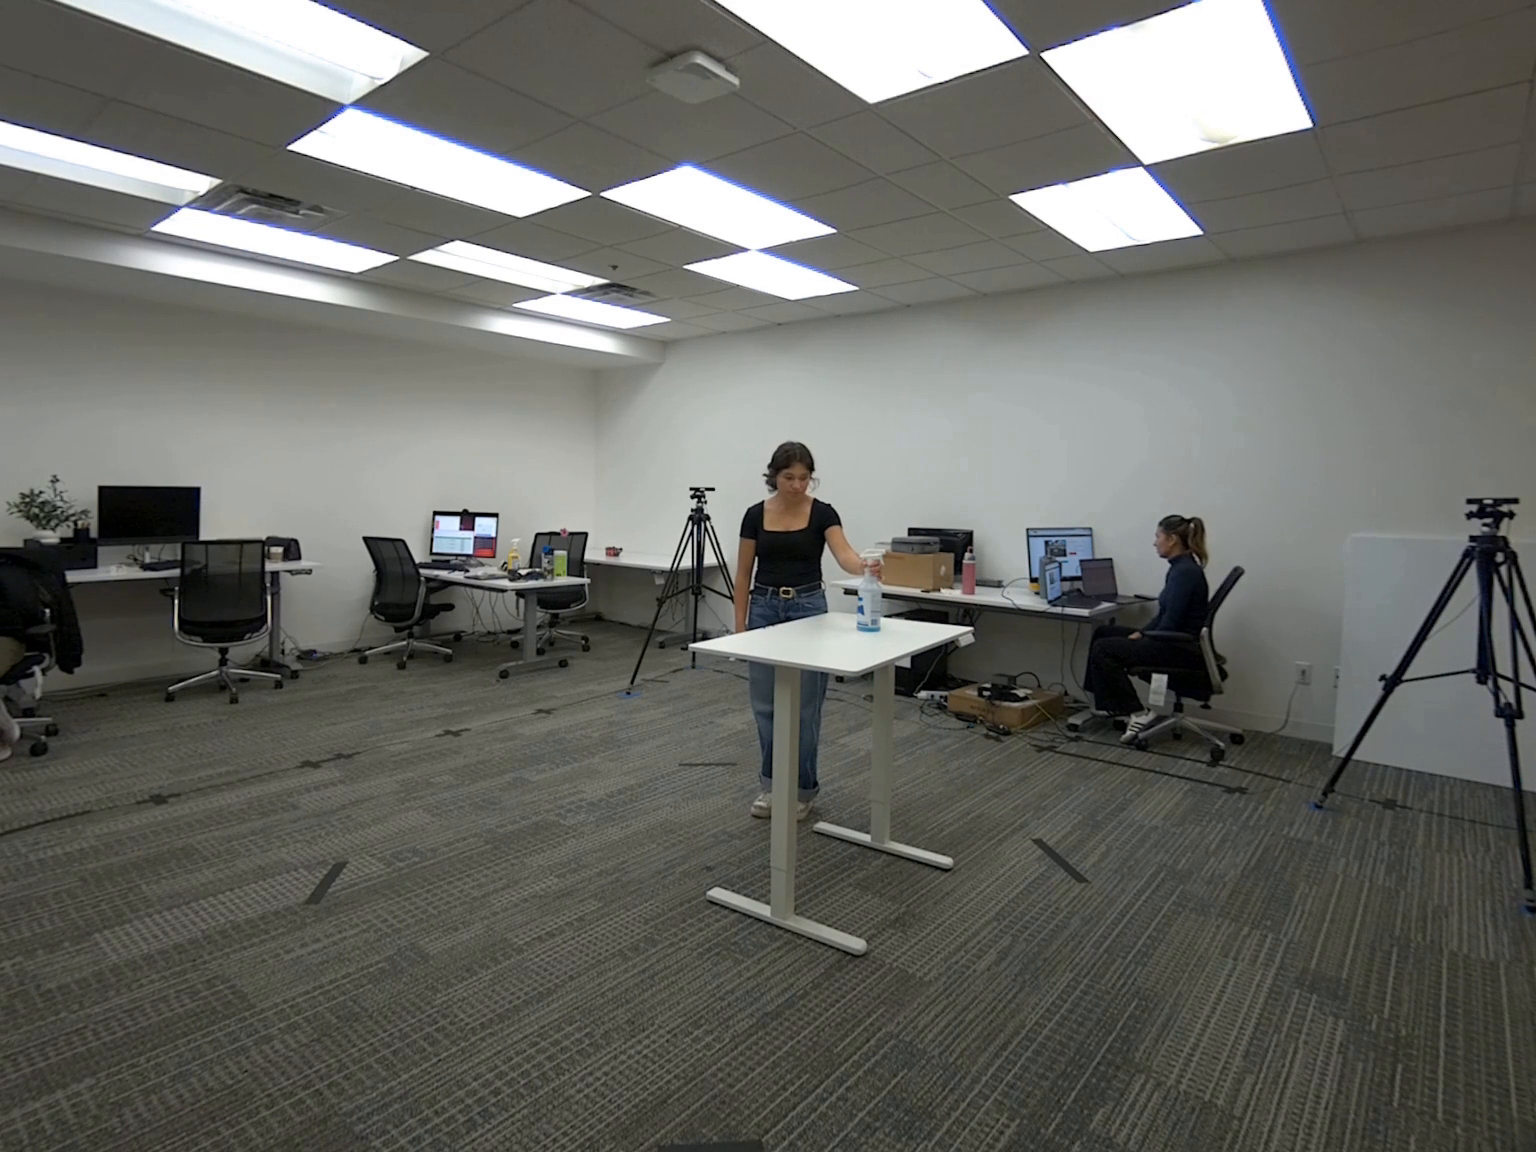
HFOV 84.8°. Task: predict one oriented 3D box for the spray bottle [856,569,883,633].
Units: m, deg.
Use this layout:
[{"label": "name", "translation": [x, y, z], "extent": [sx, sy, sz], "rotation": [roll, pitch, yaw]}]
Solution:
[{"label": "spray bottle", "translation": [0.371, 0.050, 3.112], "extent": [0.093, 0.297, 0.084], "rotation": [2, 2, 43]}]
